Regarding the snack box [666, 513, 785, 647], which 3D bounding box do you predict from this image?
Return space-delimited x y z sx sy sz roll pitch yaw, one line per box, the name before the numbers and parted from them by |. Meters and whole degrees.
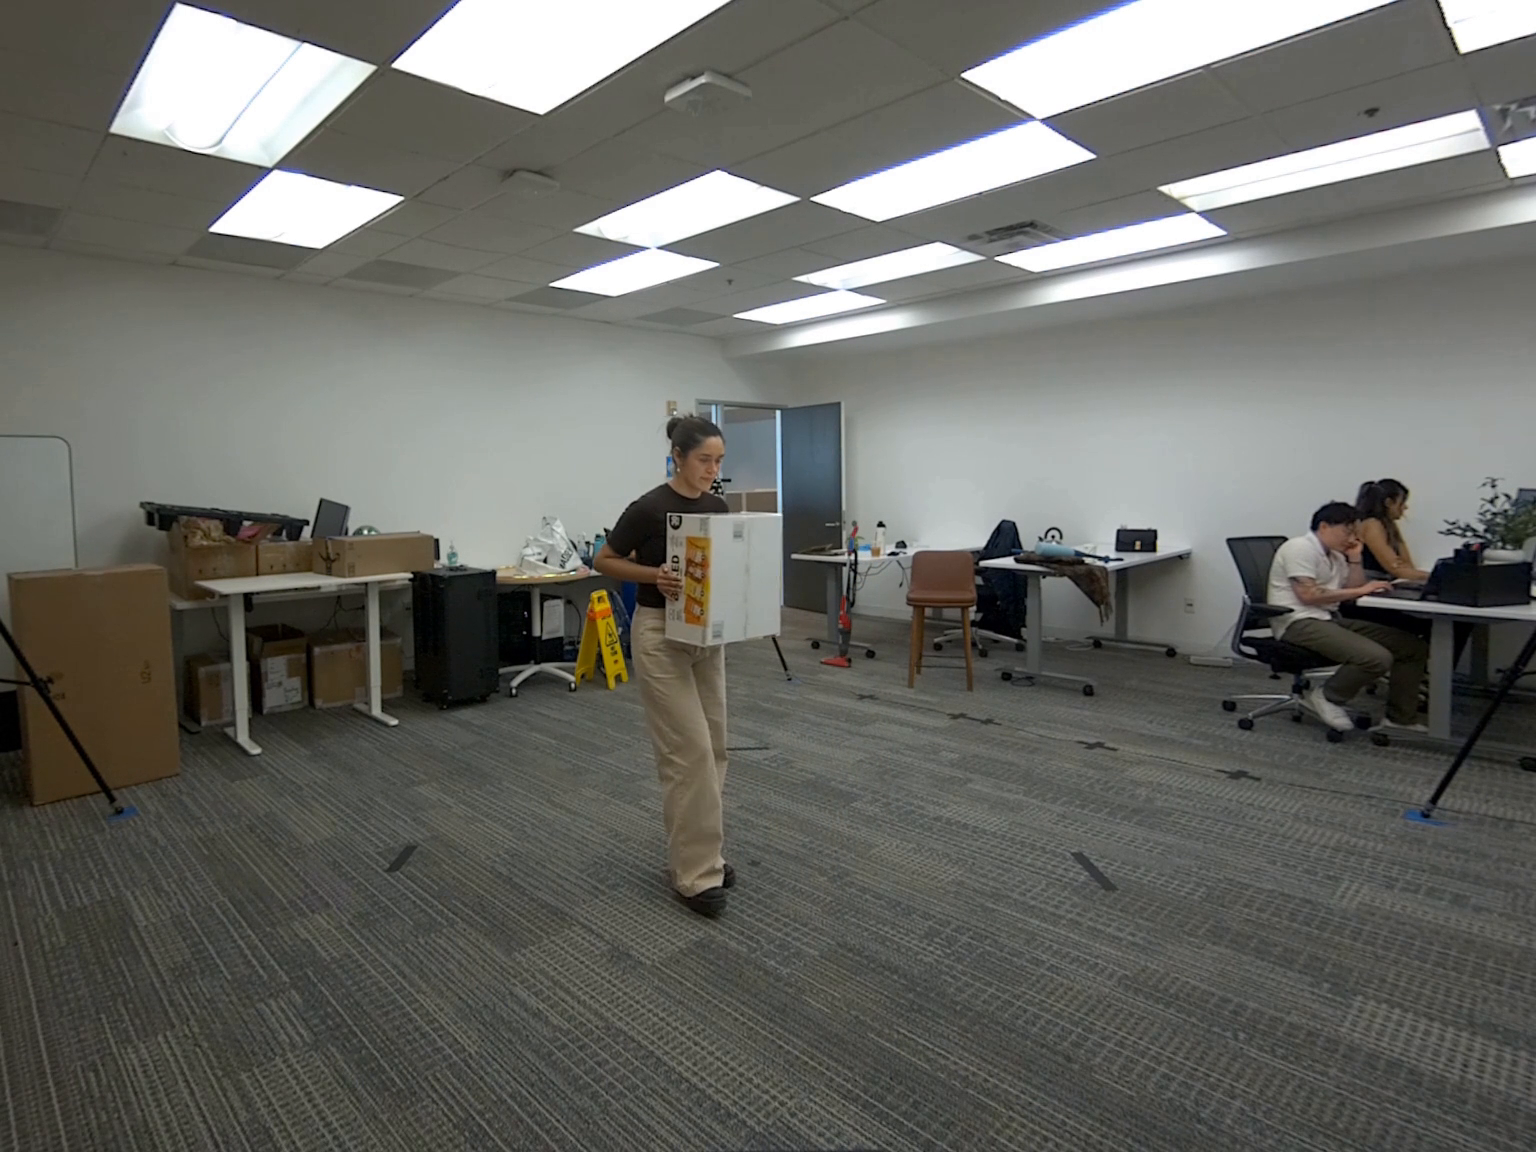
snack box | -0.141 0.001 2.804 0.212 0.404 0.331 5 6 44
